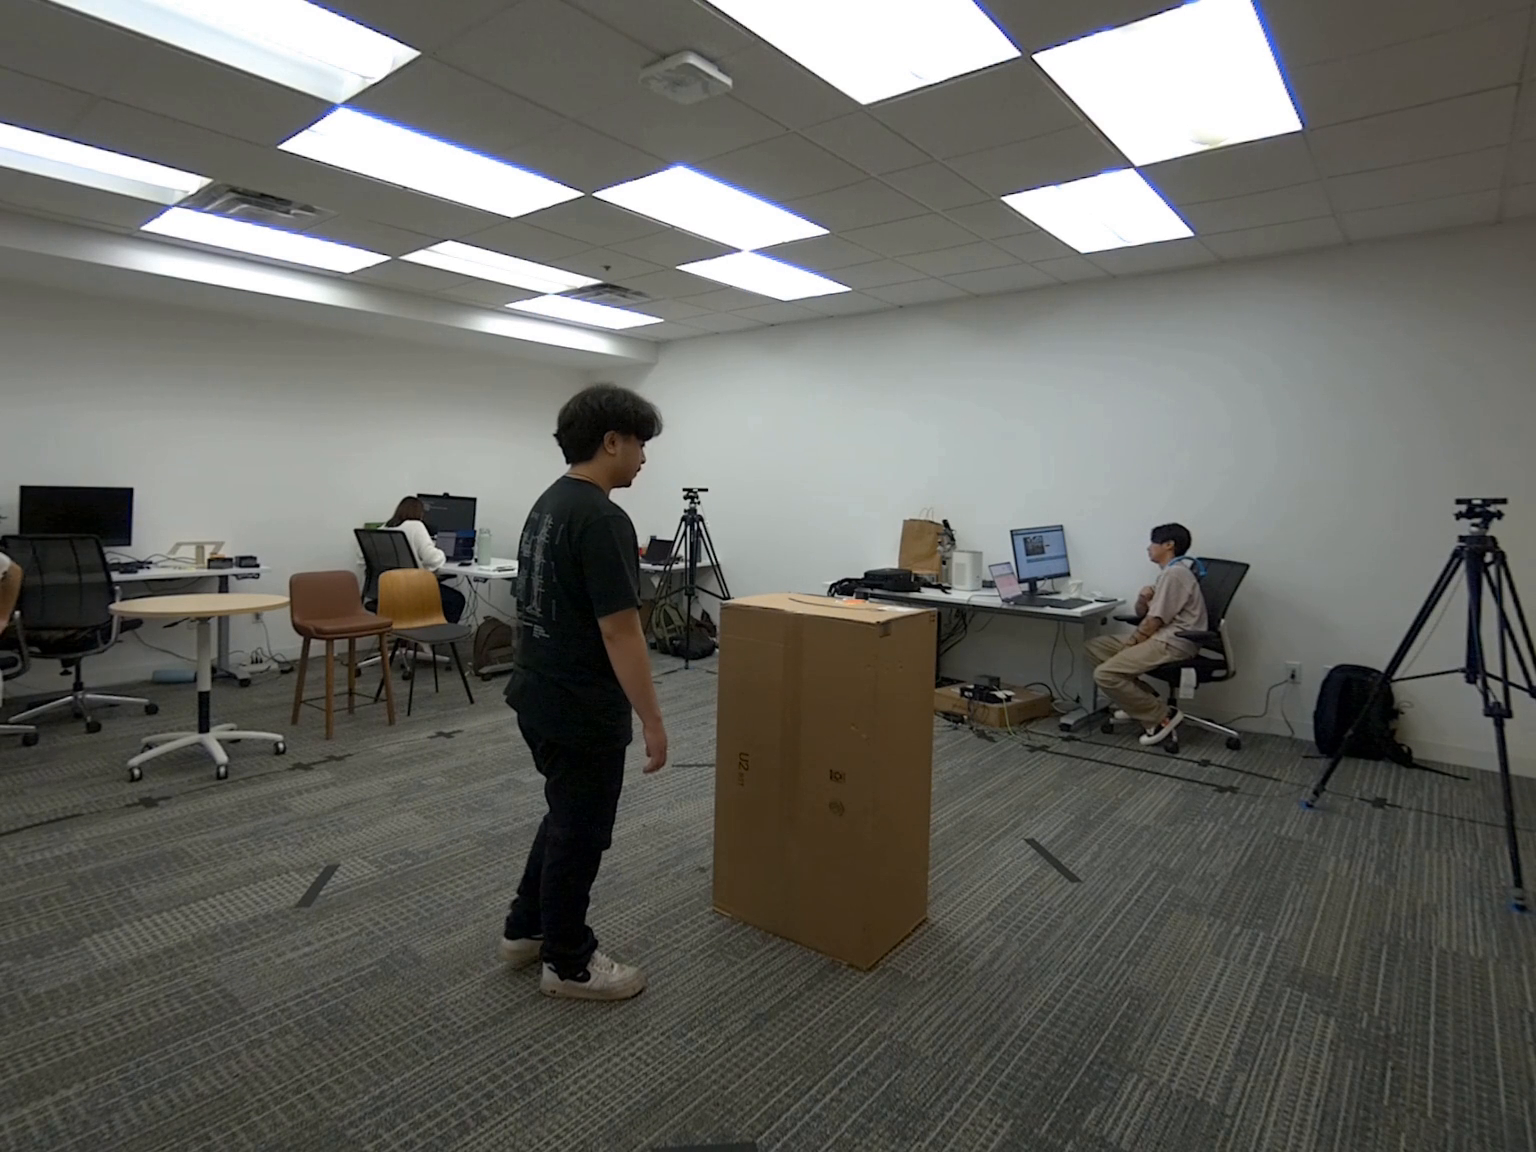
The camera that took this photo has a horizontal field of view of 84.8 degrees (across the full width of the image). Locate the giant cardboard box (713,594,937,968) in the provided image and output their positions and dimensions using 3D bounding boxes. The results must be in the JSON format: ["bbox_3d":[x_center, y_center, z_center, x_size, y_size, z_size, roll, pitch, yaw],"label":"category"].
[{"bbox_3d":[0.176,0.599,2.783,0.603,1.025,0.433,4,3,37],"label":"giant cardboard box"}]
